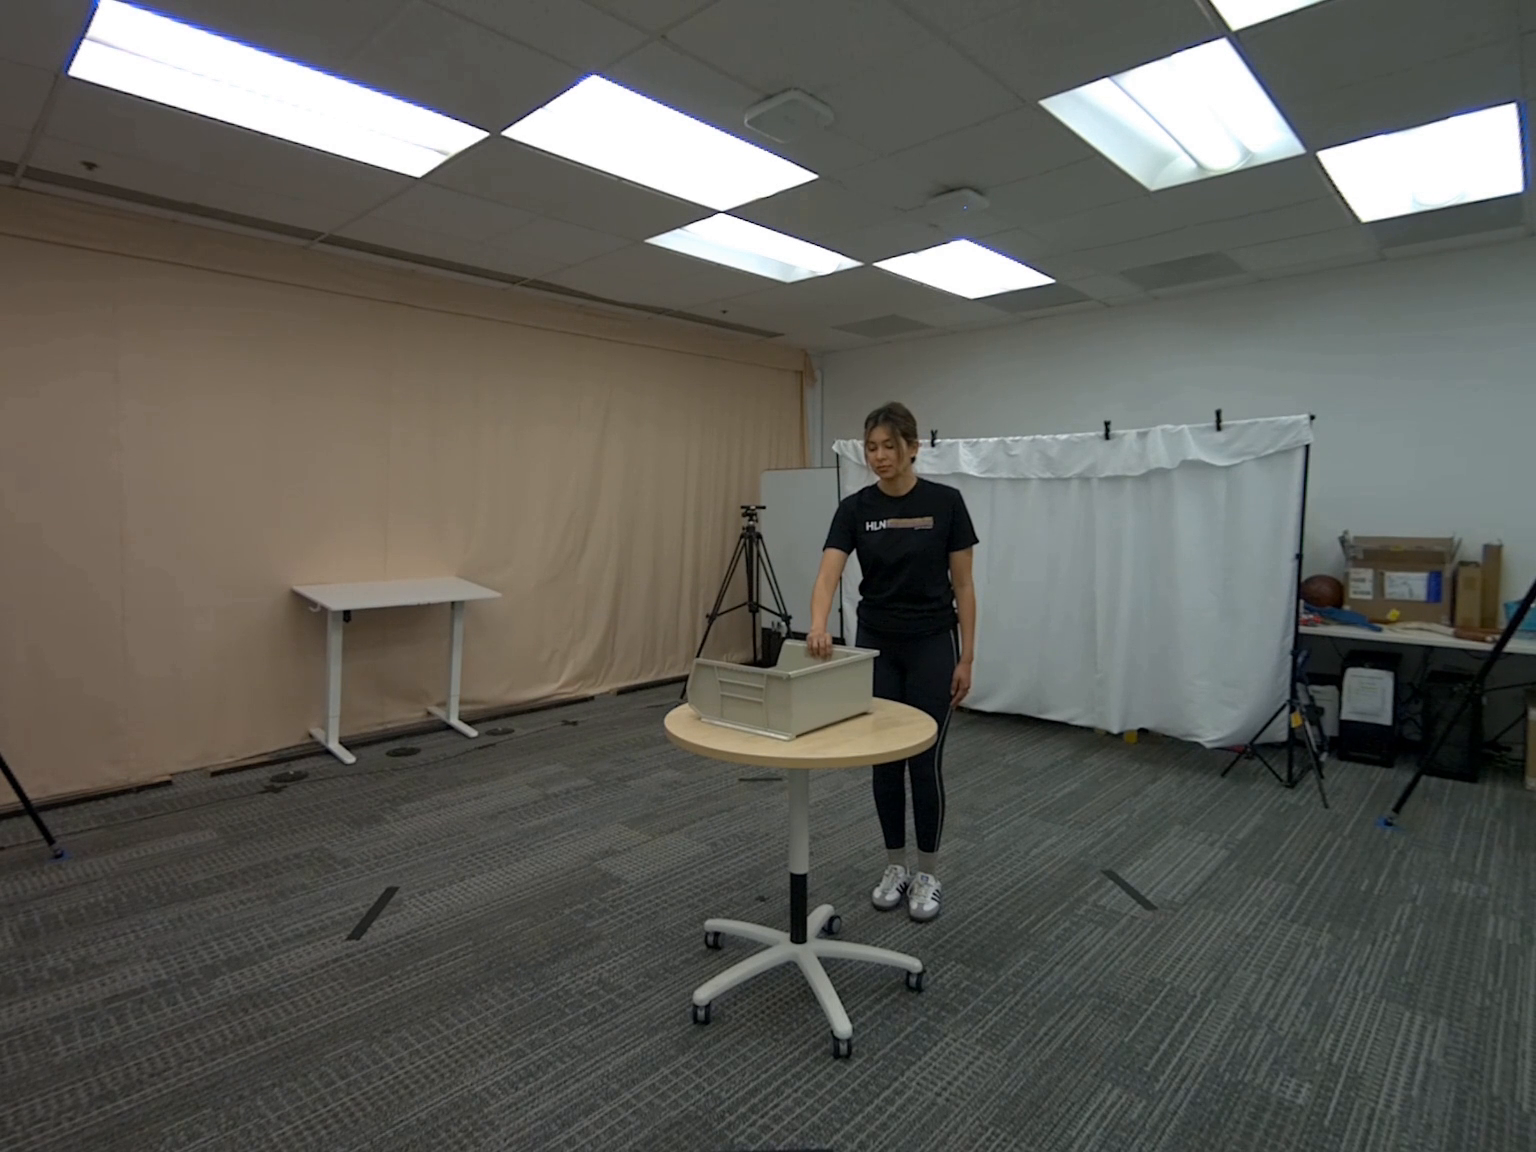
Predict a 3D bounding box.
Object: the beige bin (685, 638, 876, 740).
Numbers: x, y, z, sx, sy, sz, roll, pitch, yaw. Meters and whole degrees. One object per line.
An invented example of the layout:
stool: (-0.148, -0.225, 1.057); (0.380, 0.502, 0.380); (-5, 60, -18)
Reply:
beige bin: (0.048, 0.313, 2.419); (0.390, 0.188, 0.409); (5, 7, 41)
